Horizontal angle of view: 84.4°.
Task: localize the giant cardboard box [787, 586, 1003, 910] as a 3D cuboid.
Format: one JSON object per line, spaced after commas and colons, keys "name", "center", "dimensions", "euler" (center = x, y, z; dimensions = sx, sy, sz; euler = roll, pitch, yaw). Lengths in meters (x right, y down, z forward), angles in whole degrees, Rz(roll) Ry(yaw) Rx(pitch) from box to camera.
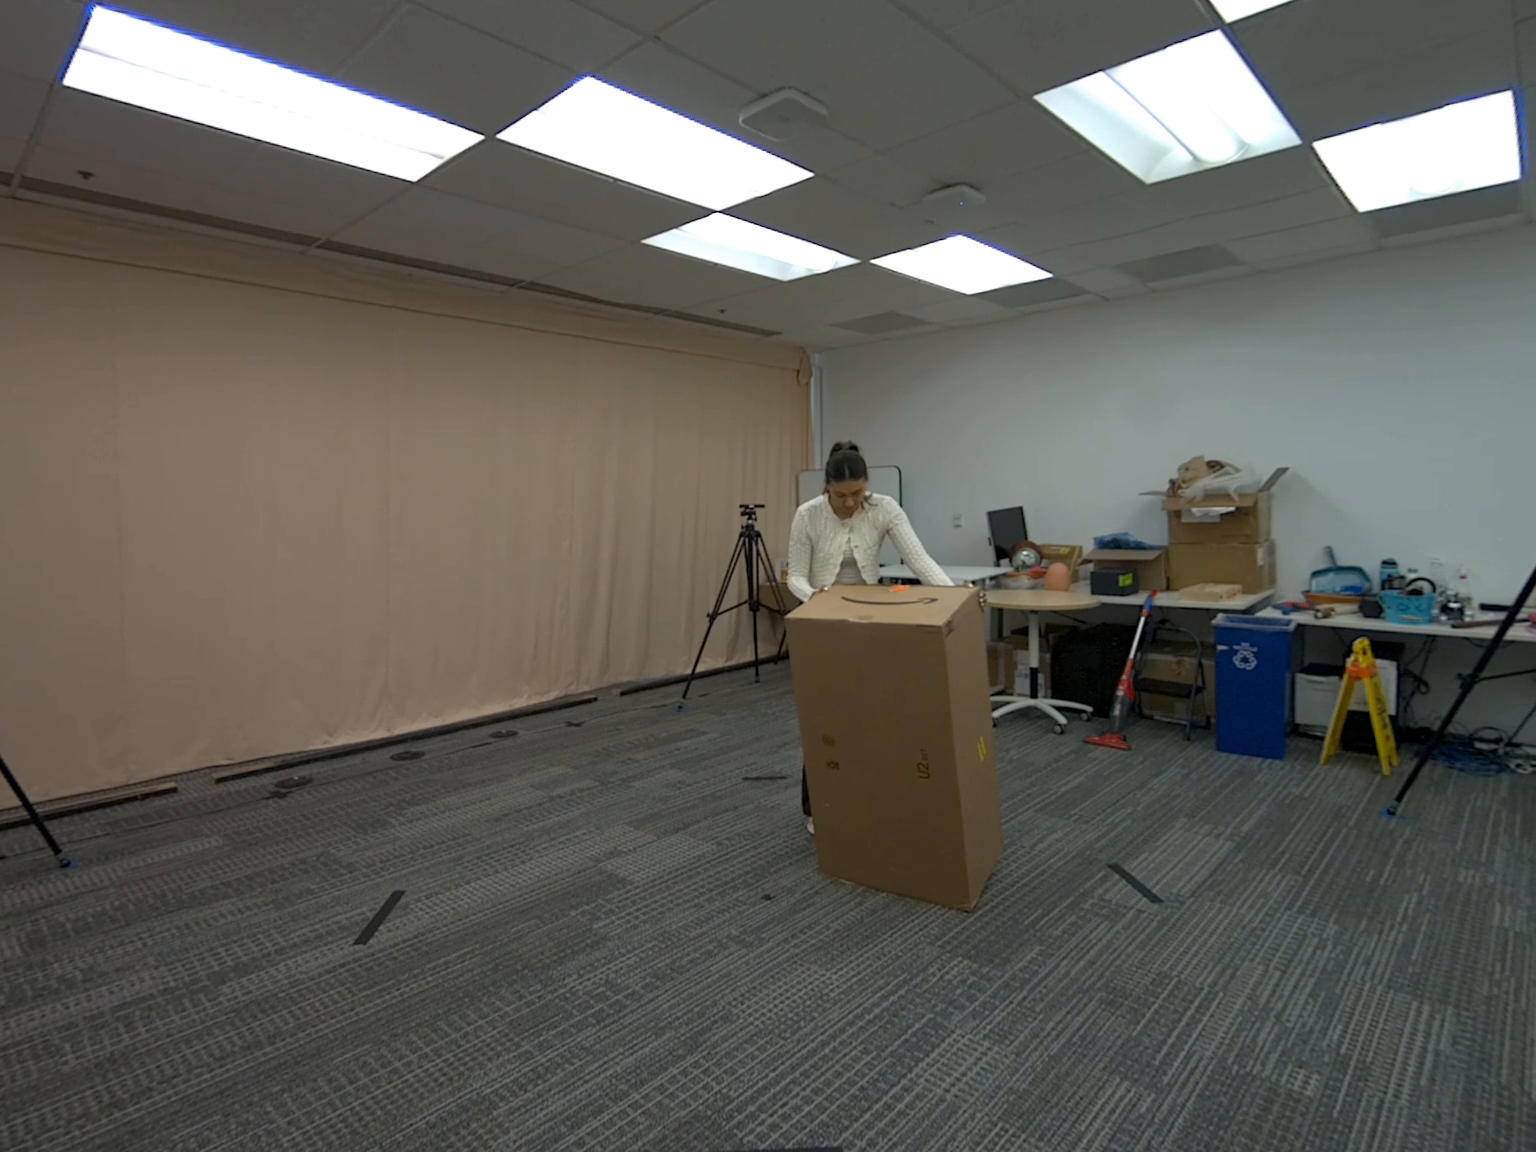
{"name": "giant cardboard box", "center": [0.476, 0.588, 3.061], "dimensions": [0.594, 1.016, 0.418], "euler": [0, 14, 32]}
